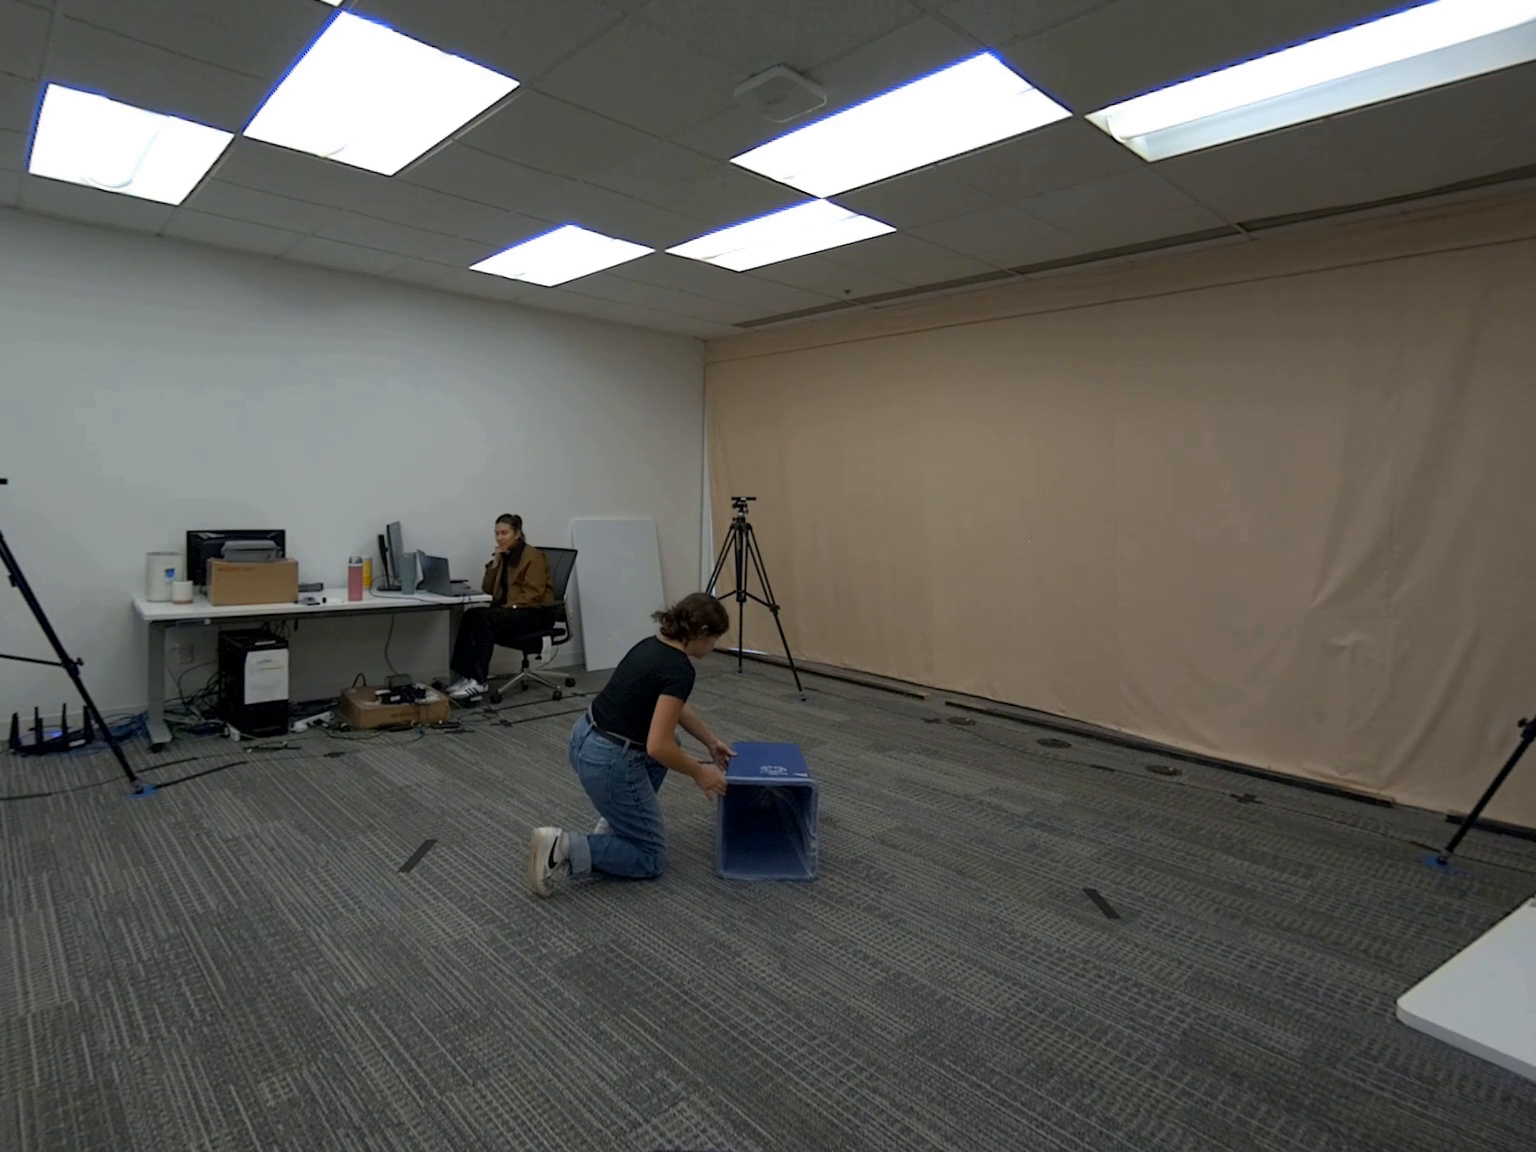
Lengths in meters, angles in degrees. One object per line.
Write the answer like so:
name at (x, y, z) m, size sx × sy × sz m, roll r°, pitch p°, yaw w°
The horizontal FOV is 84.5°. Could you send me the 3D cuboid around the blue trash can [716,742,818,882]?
blue trash can at (-0.016, 0.914, 3.423) m, size 0.374 × 0.378 × 0.714 m, roll 1°, pitch 2°, yaw -1°
